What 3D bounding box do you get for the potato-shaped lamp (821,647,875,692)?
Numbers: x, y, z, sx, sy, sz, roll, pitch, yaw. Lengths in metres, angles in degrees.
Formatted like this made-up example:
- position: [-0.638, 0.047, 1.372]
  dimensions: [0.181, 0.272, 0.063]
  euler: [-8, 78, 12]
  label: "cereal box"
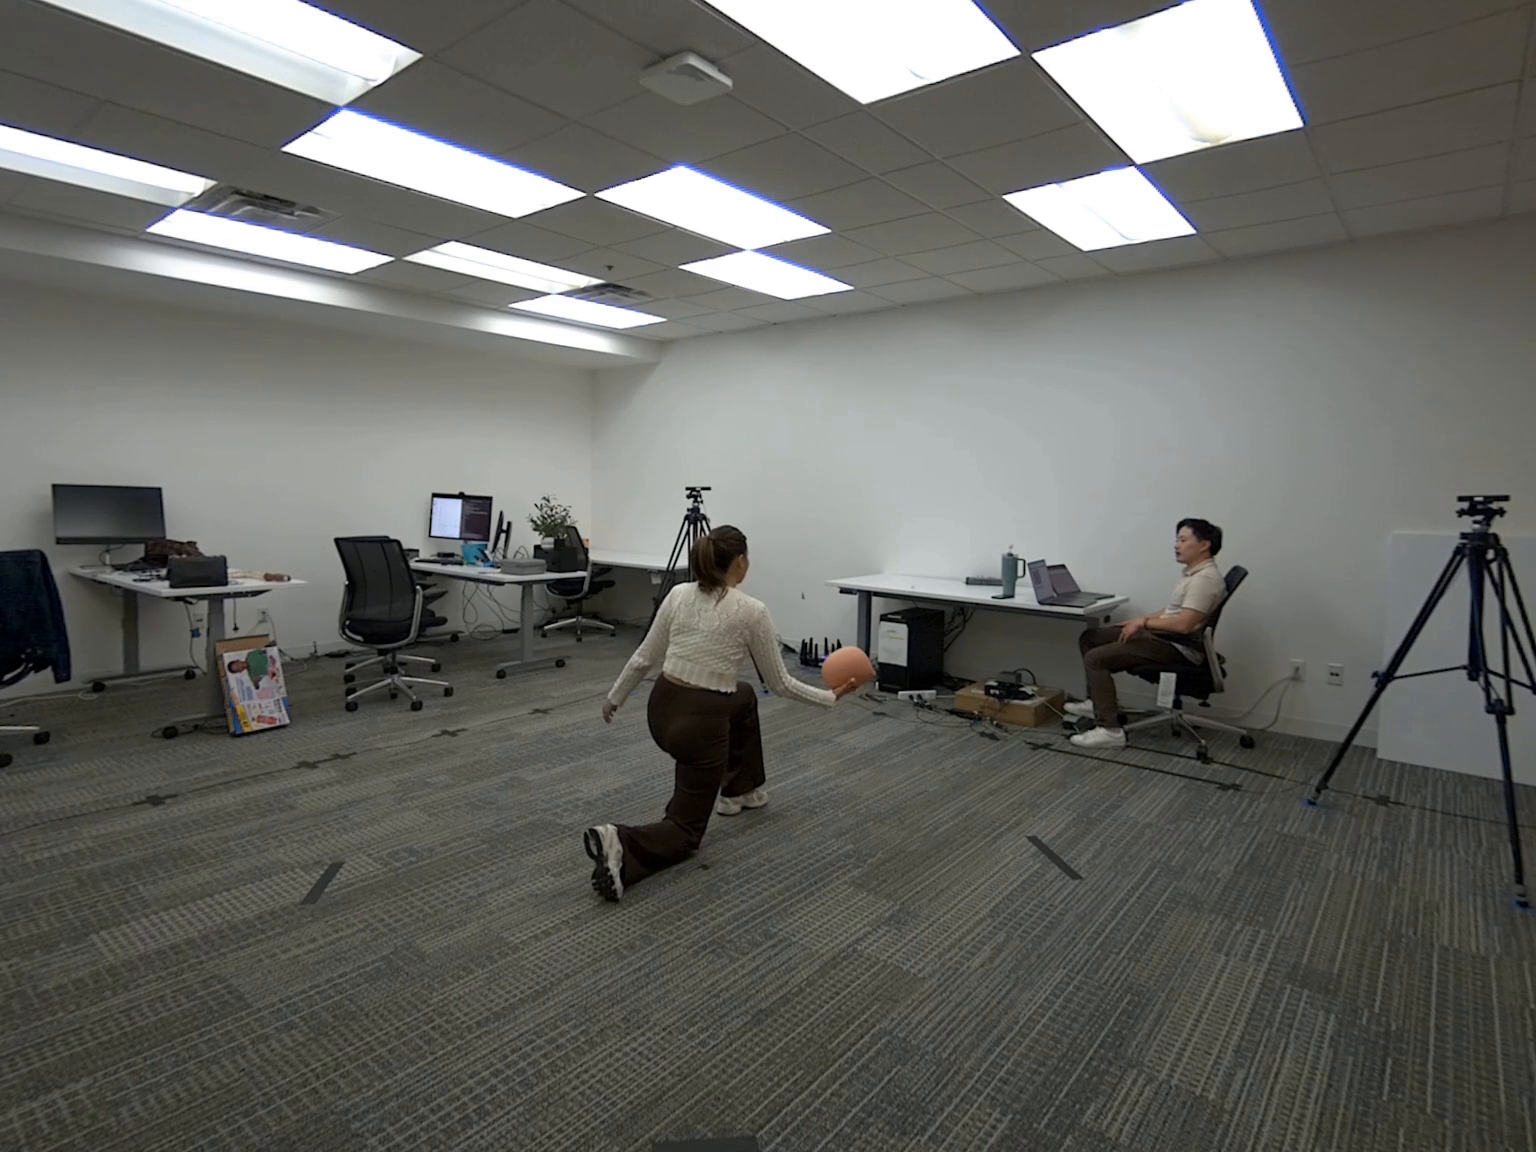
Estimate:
- position: [0.313, 0.393, 3.518]
  dimensions: [0.196, 0.171, 0.167]
  euler: [-28, 4, -15]
  label: "potato-shaped lamp"
